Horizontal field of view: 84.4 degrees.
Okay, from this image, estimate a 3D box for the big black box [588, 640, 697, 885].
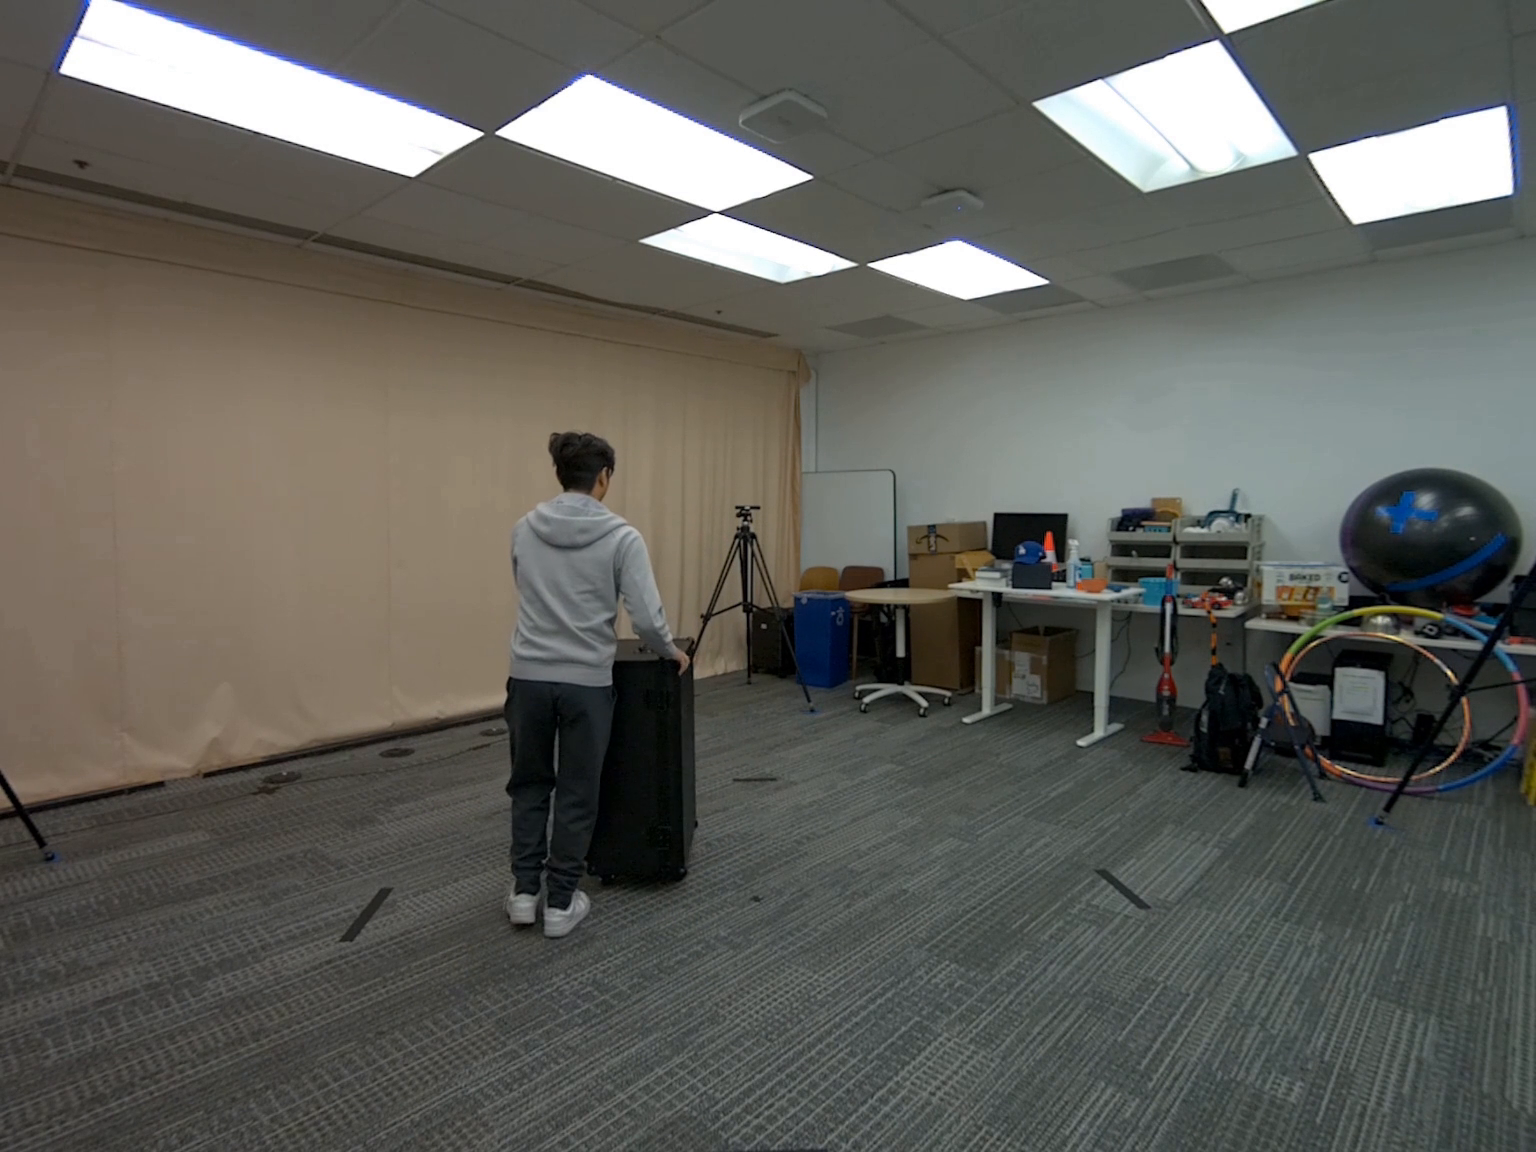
[{"bbox_3d":[-0.480,0.700,3.234,0.397,0.859,0.521,0,4,1],"label":"big black box"}]
